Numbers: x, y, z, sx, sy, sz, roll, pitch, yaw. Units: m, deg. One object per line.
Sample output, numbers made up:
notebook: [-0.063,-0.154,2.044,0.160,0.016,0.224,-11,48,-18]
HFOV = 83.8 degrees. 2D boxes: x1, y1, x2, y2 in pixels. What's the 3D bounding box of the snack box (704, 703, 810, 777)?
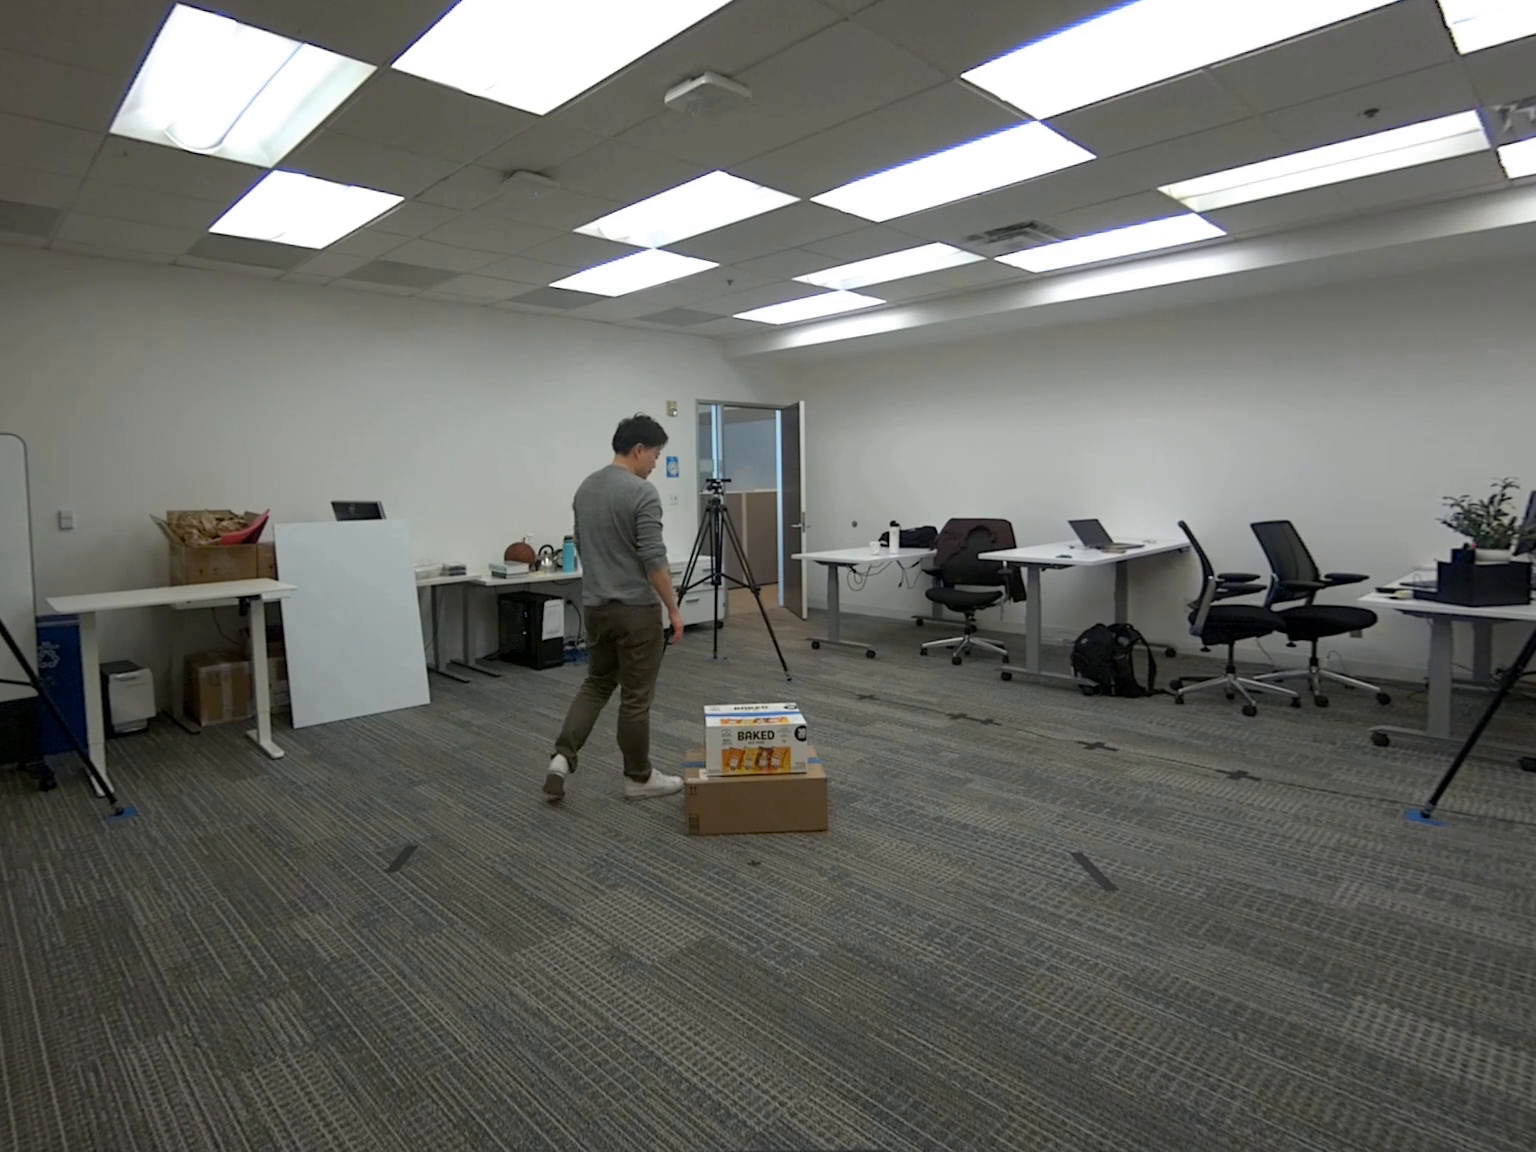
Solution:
snack box: [-0.061,0.674,3.565,0.404,0.205,0.343,-1,5,-4]
